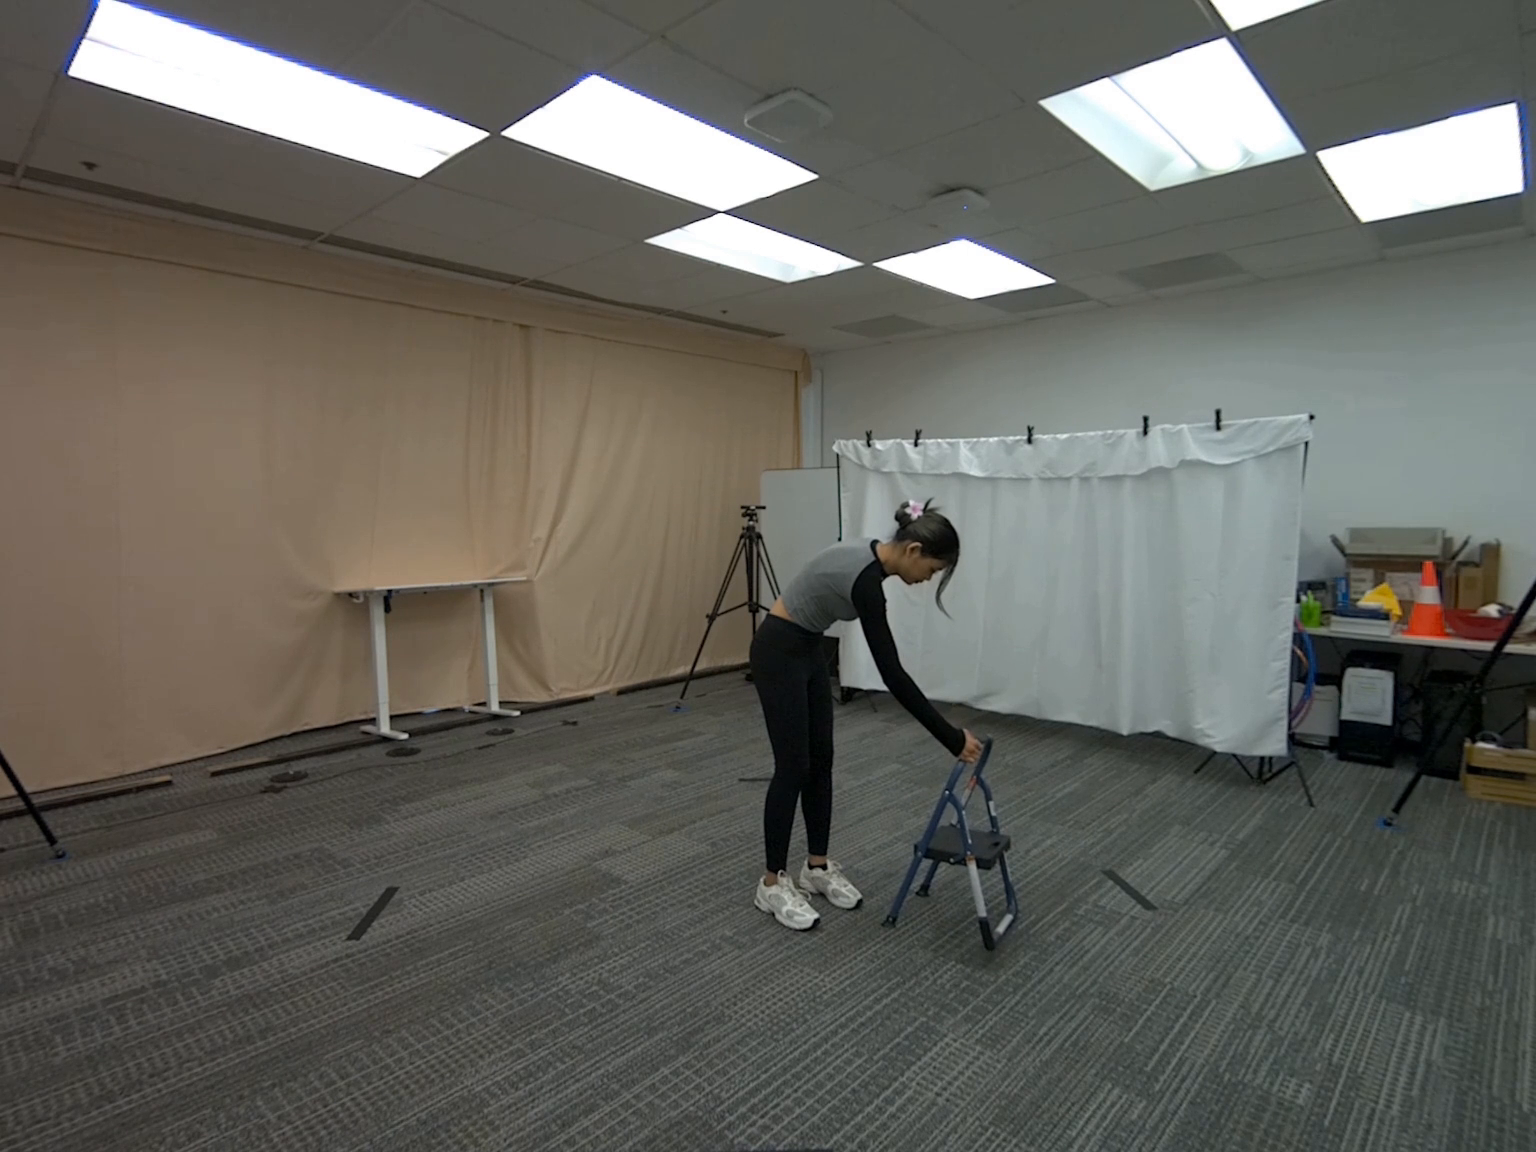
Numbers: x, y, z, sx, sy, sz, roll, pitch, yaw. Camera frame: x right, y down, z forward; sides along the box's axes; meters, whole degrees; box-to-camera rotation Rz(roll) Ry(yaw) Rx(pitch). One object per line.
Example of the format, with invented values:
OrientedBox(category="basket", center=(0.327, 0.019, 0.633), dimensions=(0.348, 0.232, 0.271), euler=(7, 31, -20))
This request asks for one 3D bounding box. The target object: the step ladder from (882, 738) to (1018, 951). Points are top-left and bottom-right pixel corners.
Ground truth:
OrientedBox(category="step ladder", center=(0.630, 0.827, 2.781), dimensions=(0.359, 0.607, 0.418), euler=(2, -4, 27))
